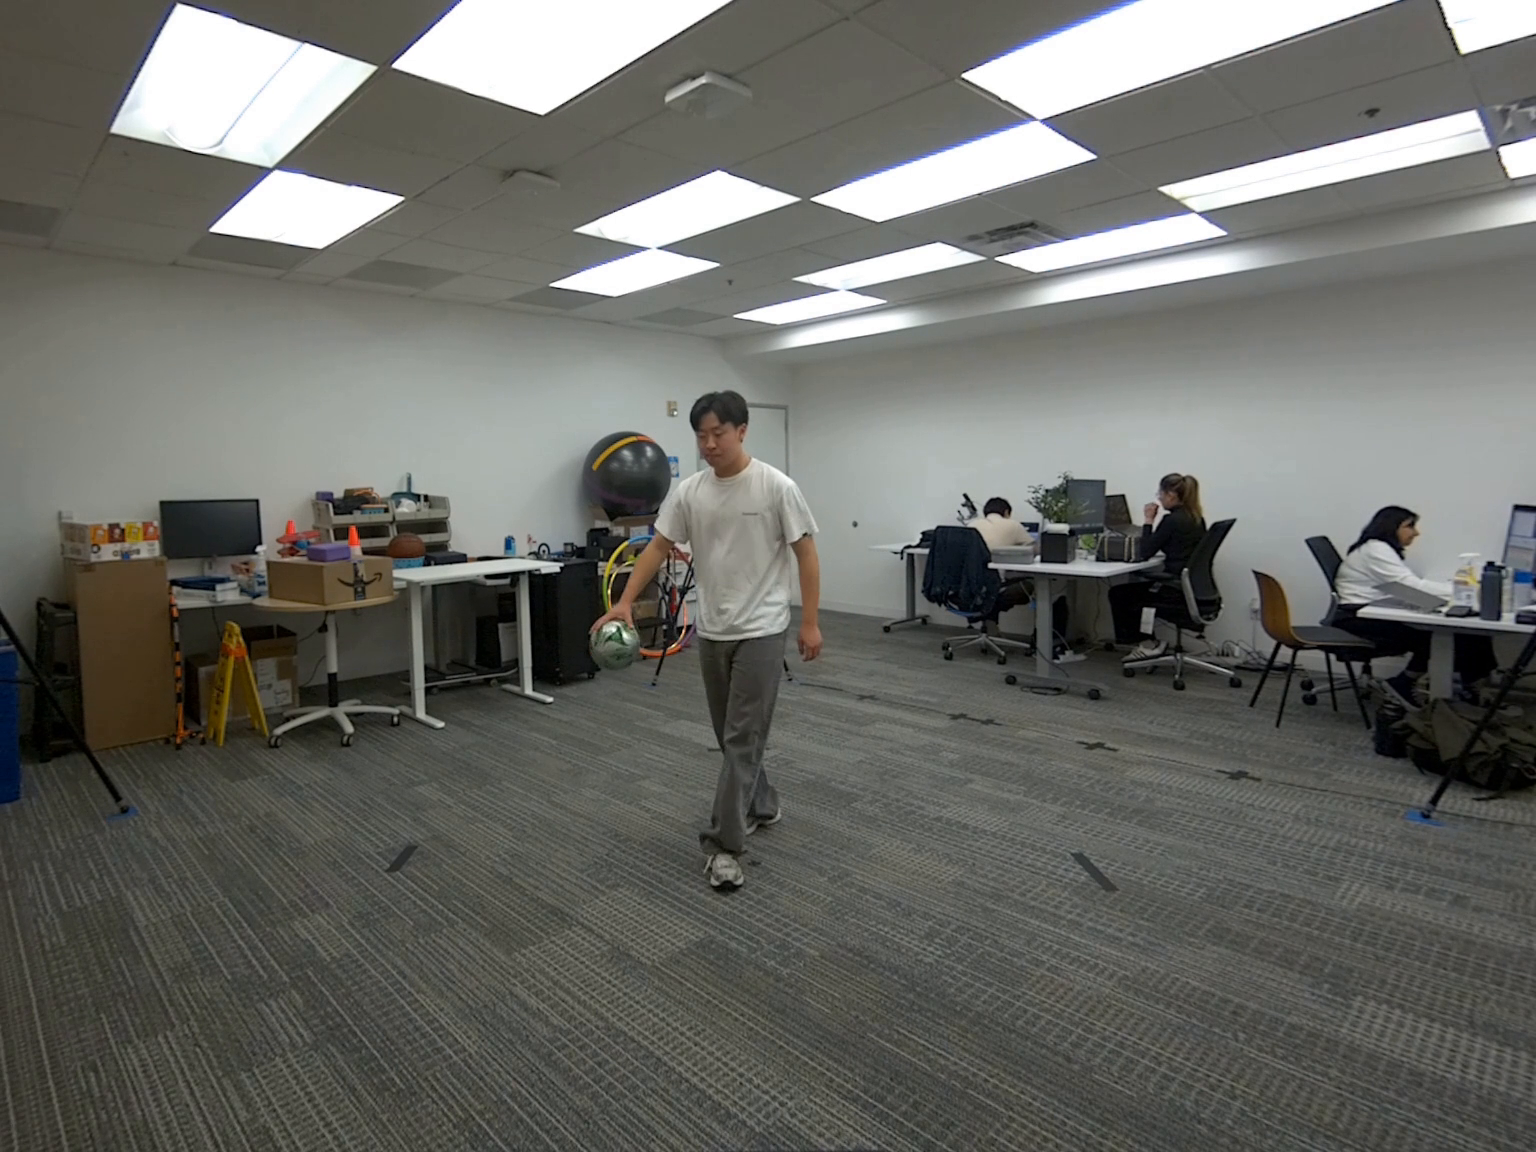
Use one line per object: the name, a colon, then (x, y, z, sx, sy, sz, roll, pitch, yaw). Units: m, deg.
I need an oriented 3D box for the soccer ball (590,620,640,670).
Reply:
soccer ball: (-0.544, 0.247, 3.178, 0.187, 0.187, 0.188, -1, 5, -2)
